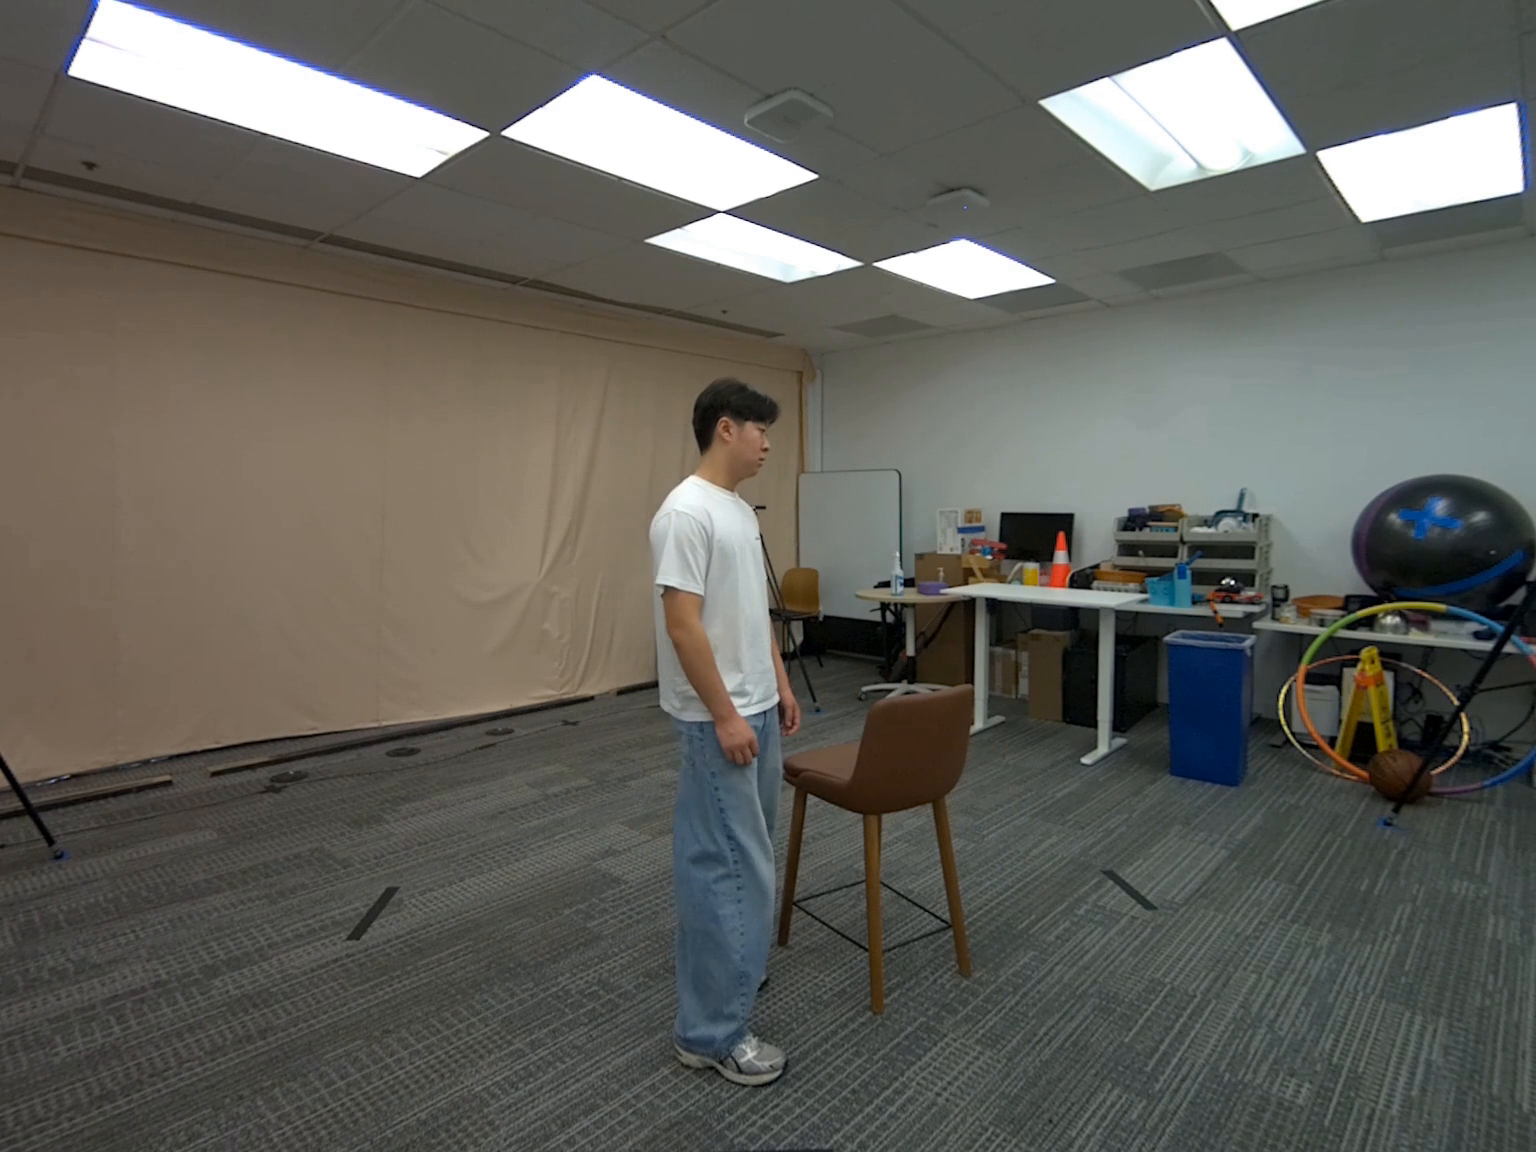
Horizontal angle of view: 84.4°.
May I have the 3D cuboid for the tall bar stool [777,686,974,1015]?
[{"bbox_3d":[0.334,0.743,2.563,0.443,0.887,0.482,-2,5,-34],"label":"tall bar stool"}]
